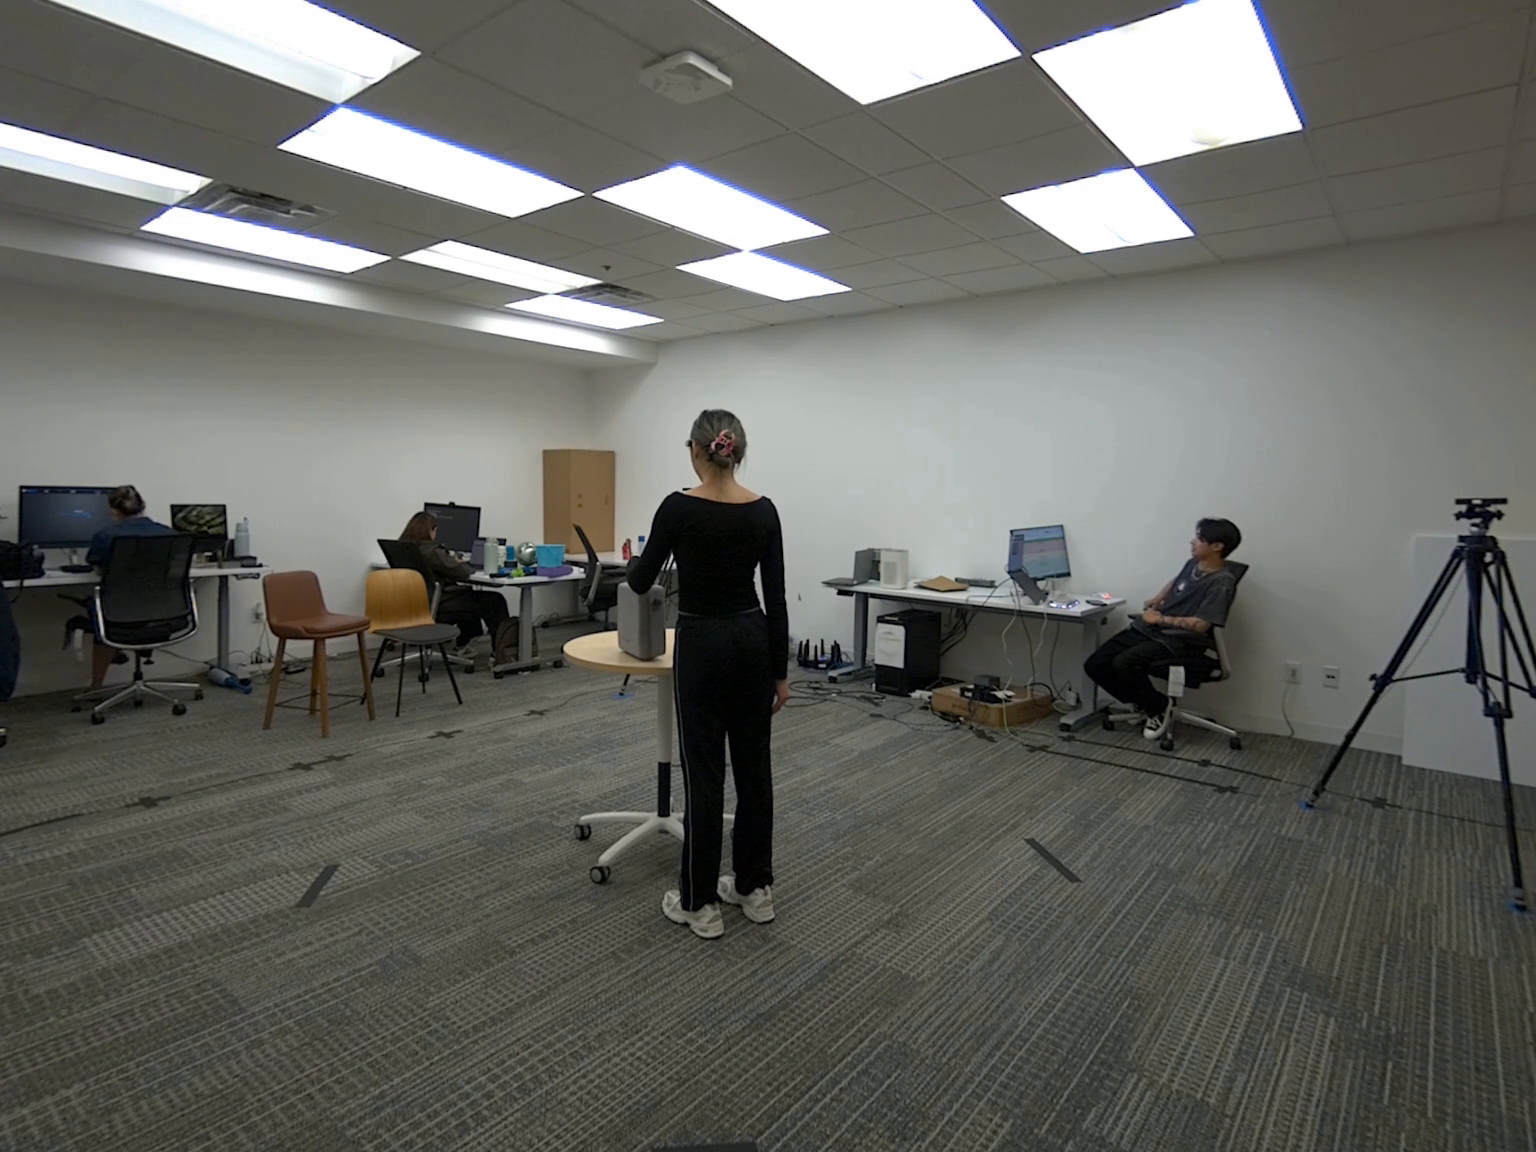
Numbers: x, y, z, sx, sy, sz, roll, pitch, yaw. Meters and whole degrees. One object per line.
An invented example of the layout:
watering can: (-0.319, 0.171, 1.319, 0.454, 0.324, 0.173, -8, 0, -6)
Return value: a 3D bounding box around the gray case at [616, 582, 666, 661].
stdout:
gray case: (-0.466, 0.145, 3.032, 0.102, 0.260, 0.264, -4, 4, -26)
